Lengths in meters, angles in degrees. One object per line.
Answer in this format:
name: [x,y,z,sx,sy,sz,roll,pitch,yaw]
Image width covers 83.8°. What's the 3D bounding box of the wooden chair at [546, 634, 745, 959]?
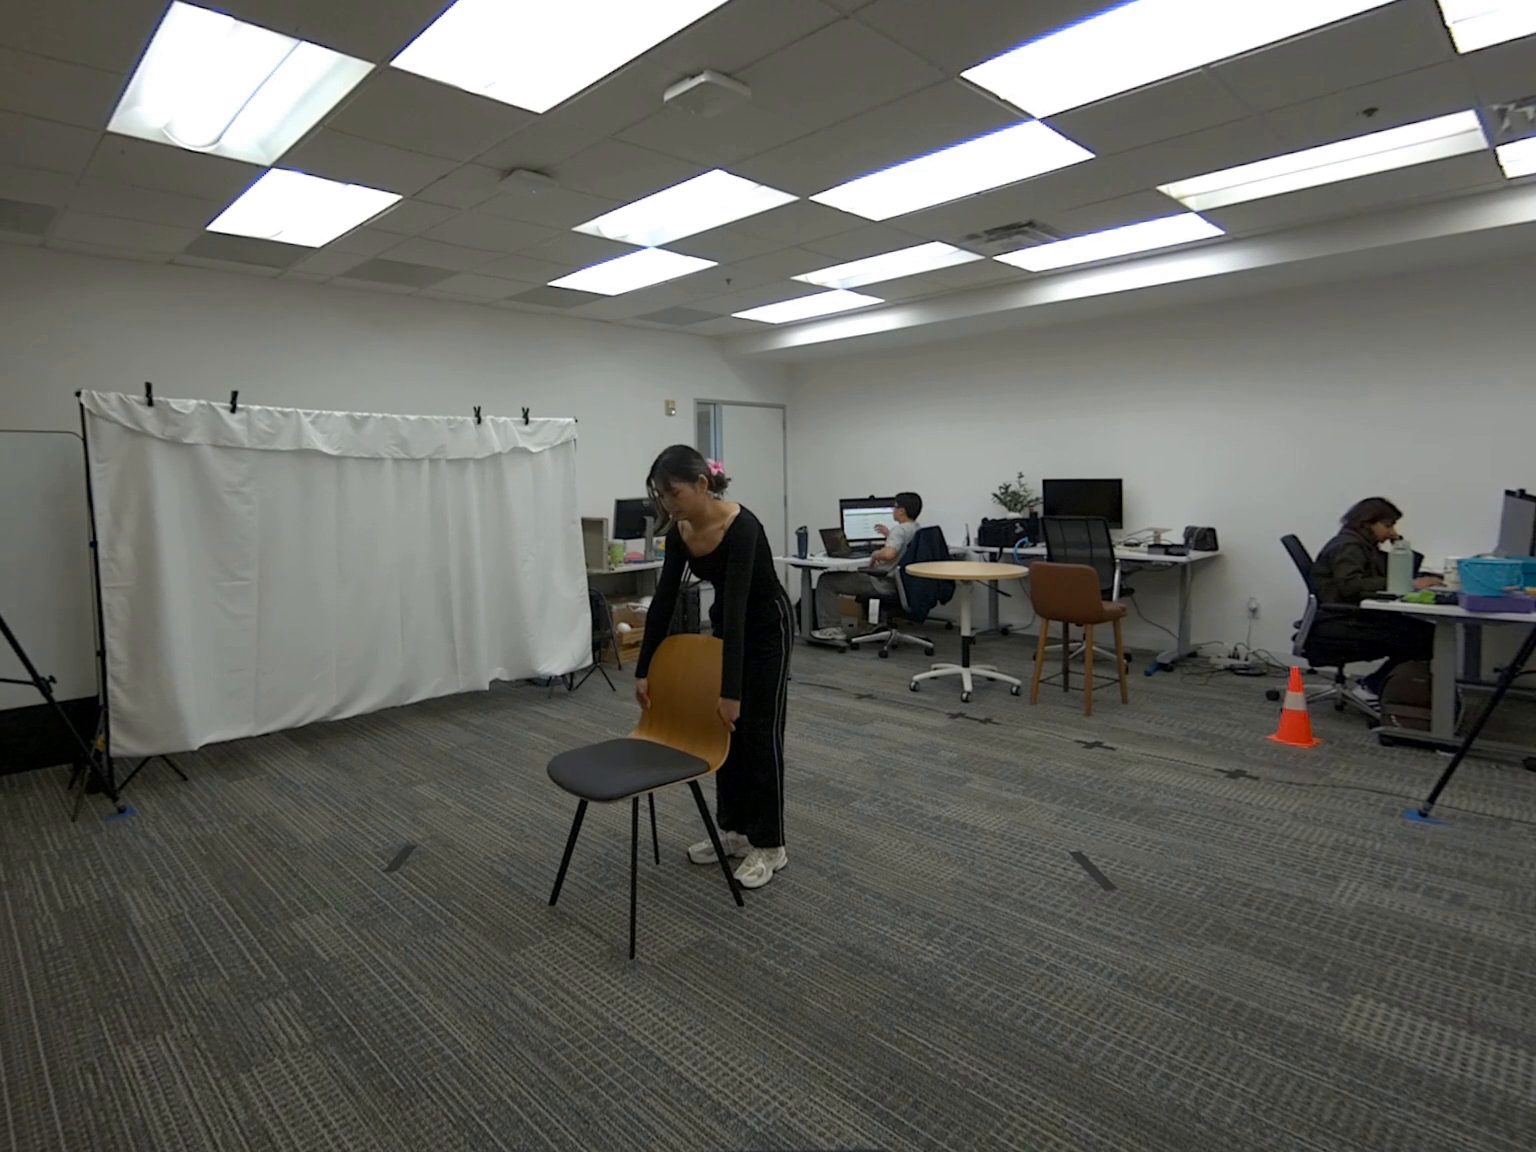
wooden chair: [-0.402,0.641,2.728,0.507,0.877,0.493,2,1,-44]
